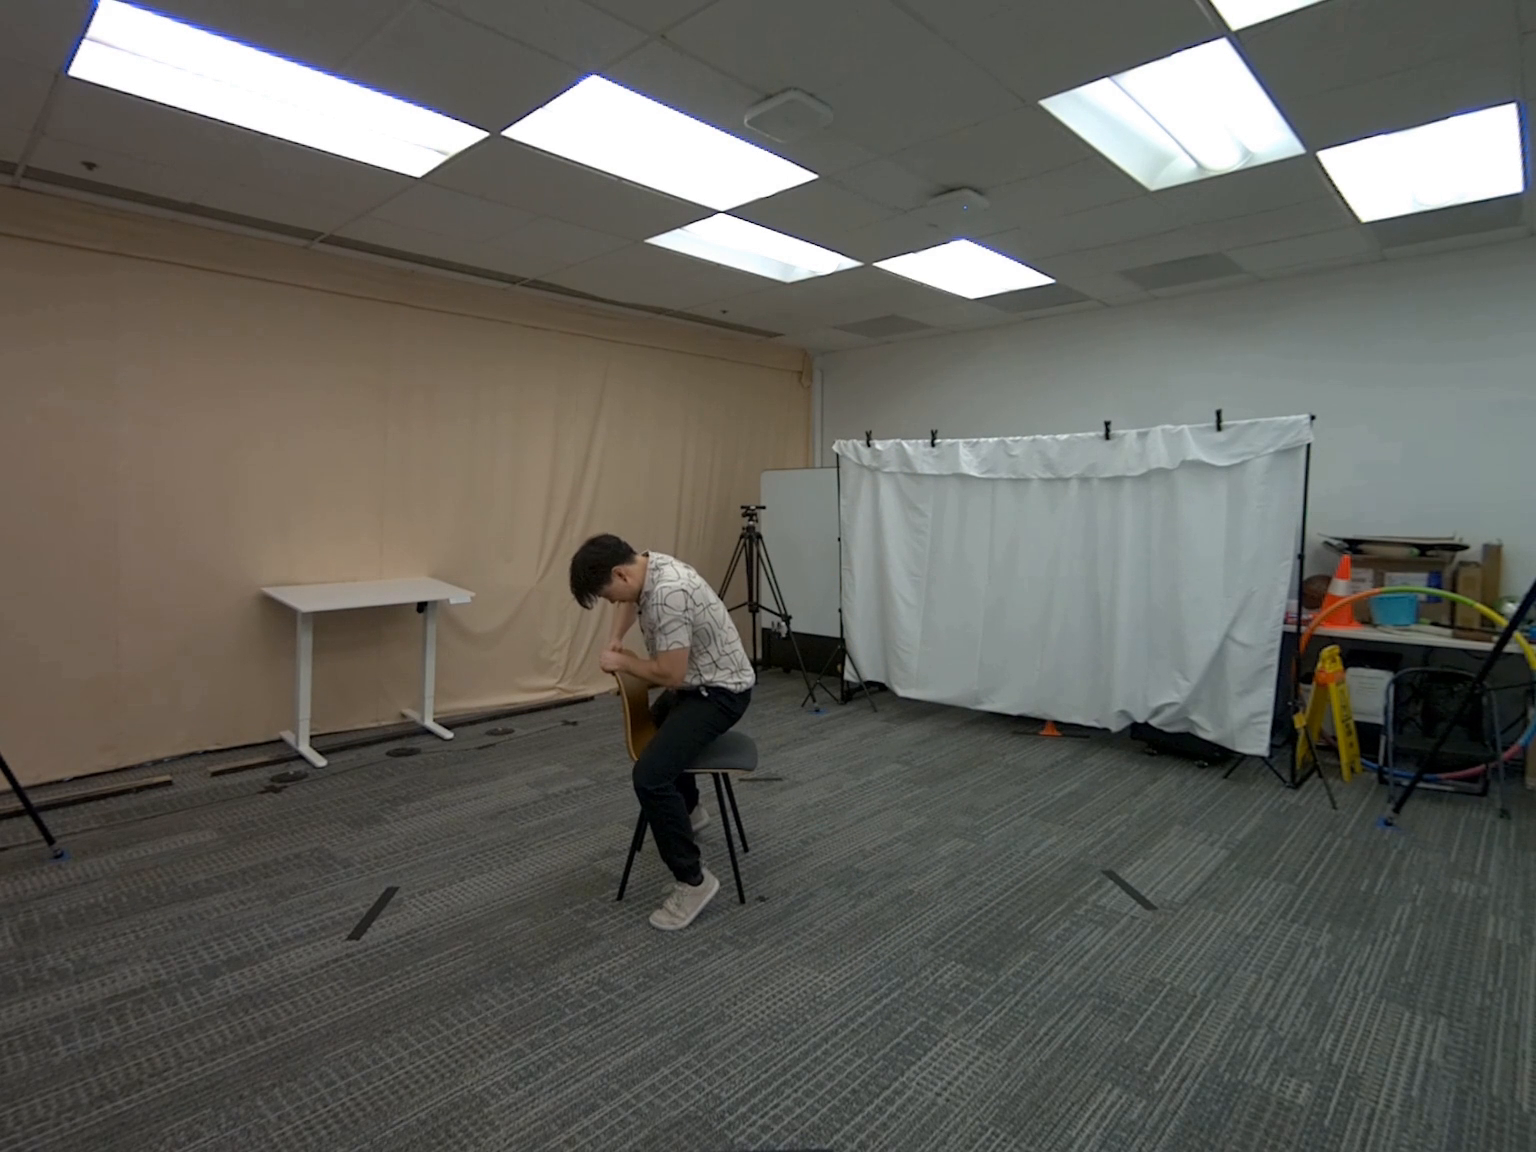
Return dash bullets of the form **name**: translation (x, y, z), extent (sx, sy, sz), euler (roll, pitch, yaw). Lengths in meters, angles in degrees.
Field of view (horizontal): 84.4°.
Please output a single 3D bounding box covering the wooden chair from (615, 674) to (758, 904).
- **wooden chair**: translation (-0.295, 0.705, 3.156), extent (0.525, 0.876, 0.478), euler (-5, 3, 2)
